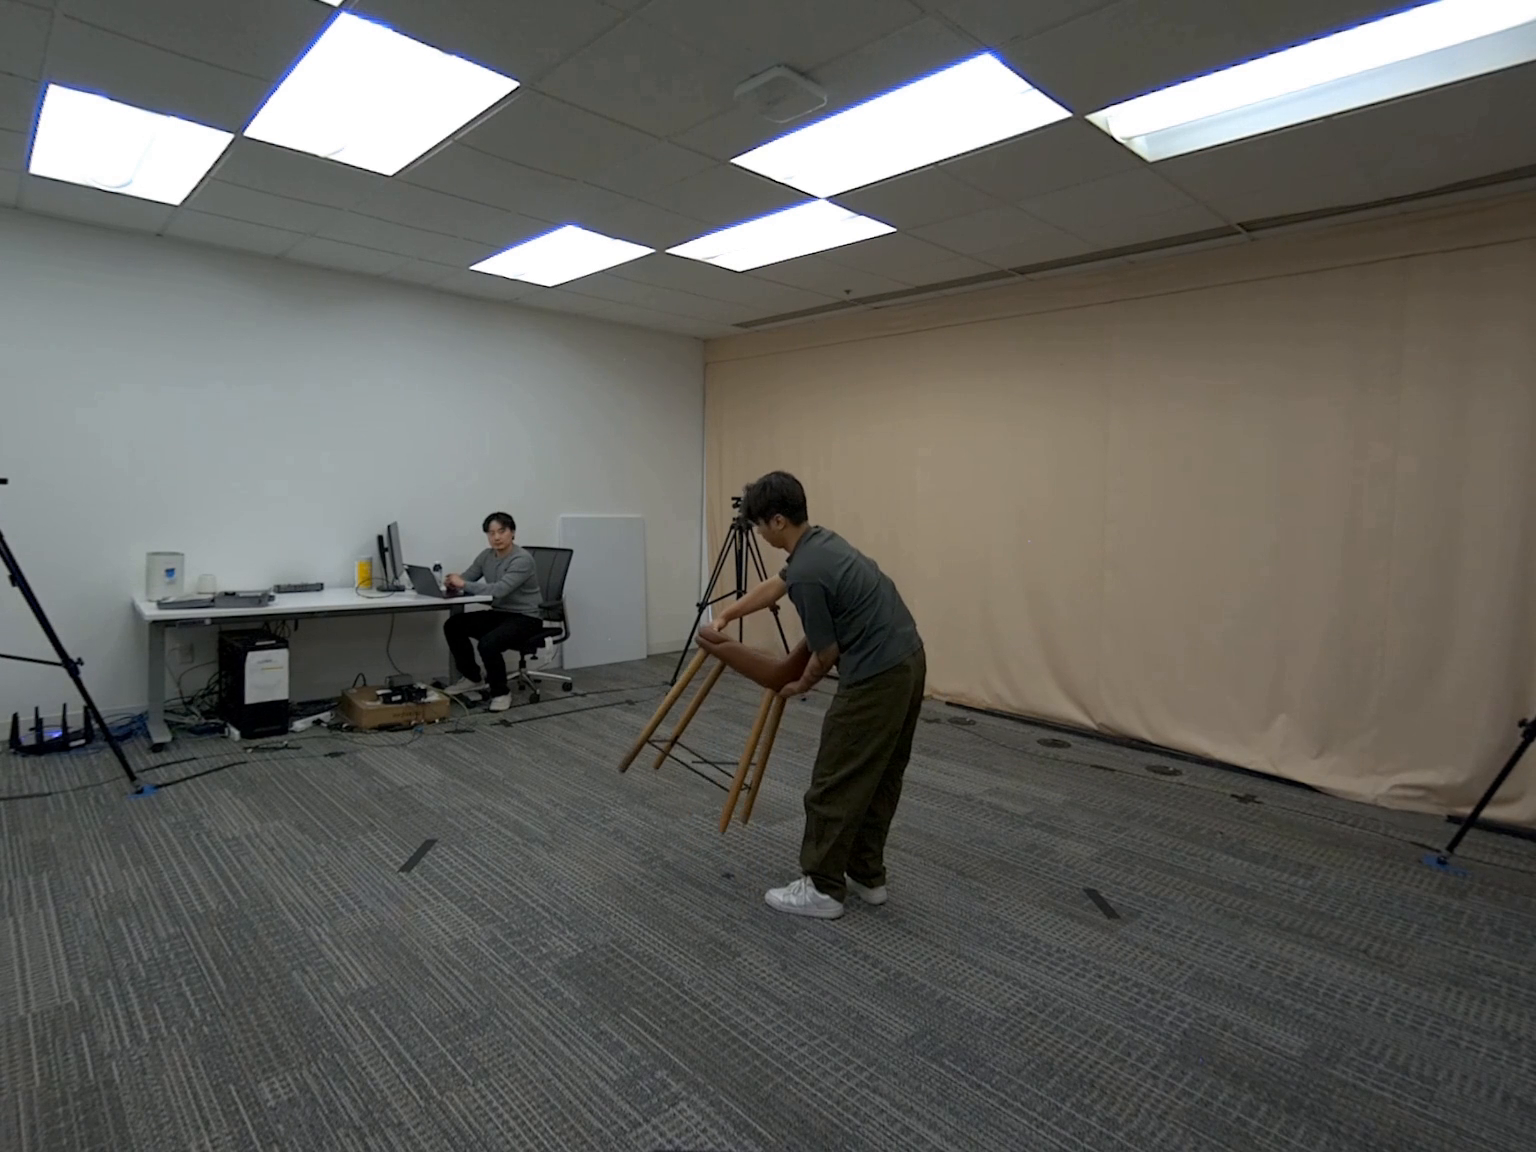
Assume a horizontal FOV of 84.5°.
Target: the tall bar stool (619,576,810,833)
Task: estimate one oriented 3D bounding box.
[{"bbox_3d":[-0.120,0.467,3.197,0.476,0.891,0.448,27,-5,16],"label":"tall bar stool"}]
